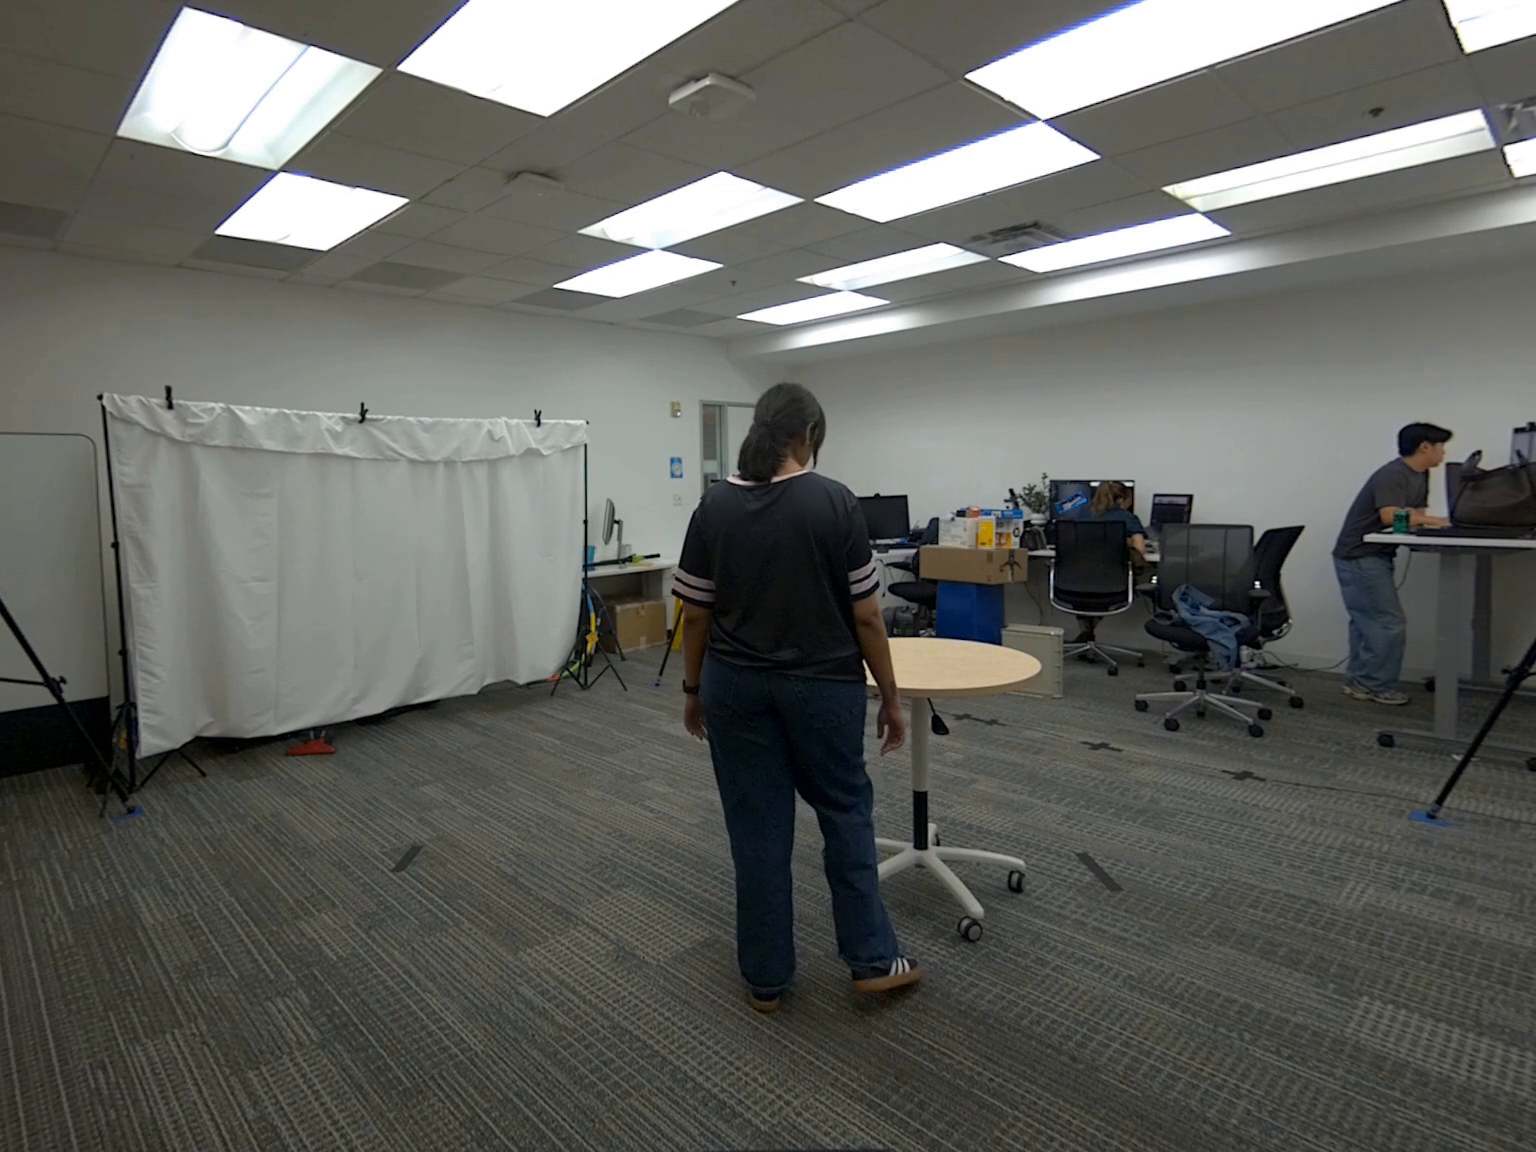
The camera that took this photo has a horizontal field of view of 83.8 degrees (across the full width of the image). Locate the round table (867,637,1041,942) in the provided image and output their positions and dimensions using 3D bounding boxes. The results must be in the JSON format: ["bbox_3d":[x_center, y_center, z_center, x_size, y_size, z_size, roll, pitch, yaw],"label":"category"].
[{"bbox_3d":[0.520,0.675,2.879,0.763,0.791,0.768,-1,5,-2],"label":"round table"}]
